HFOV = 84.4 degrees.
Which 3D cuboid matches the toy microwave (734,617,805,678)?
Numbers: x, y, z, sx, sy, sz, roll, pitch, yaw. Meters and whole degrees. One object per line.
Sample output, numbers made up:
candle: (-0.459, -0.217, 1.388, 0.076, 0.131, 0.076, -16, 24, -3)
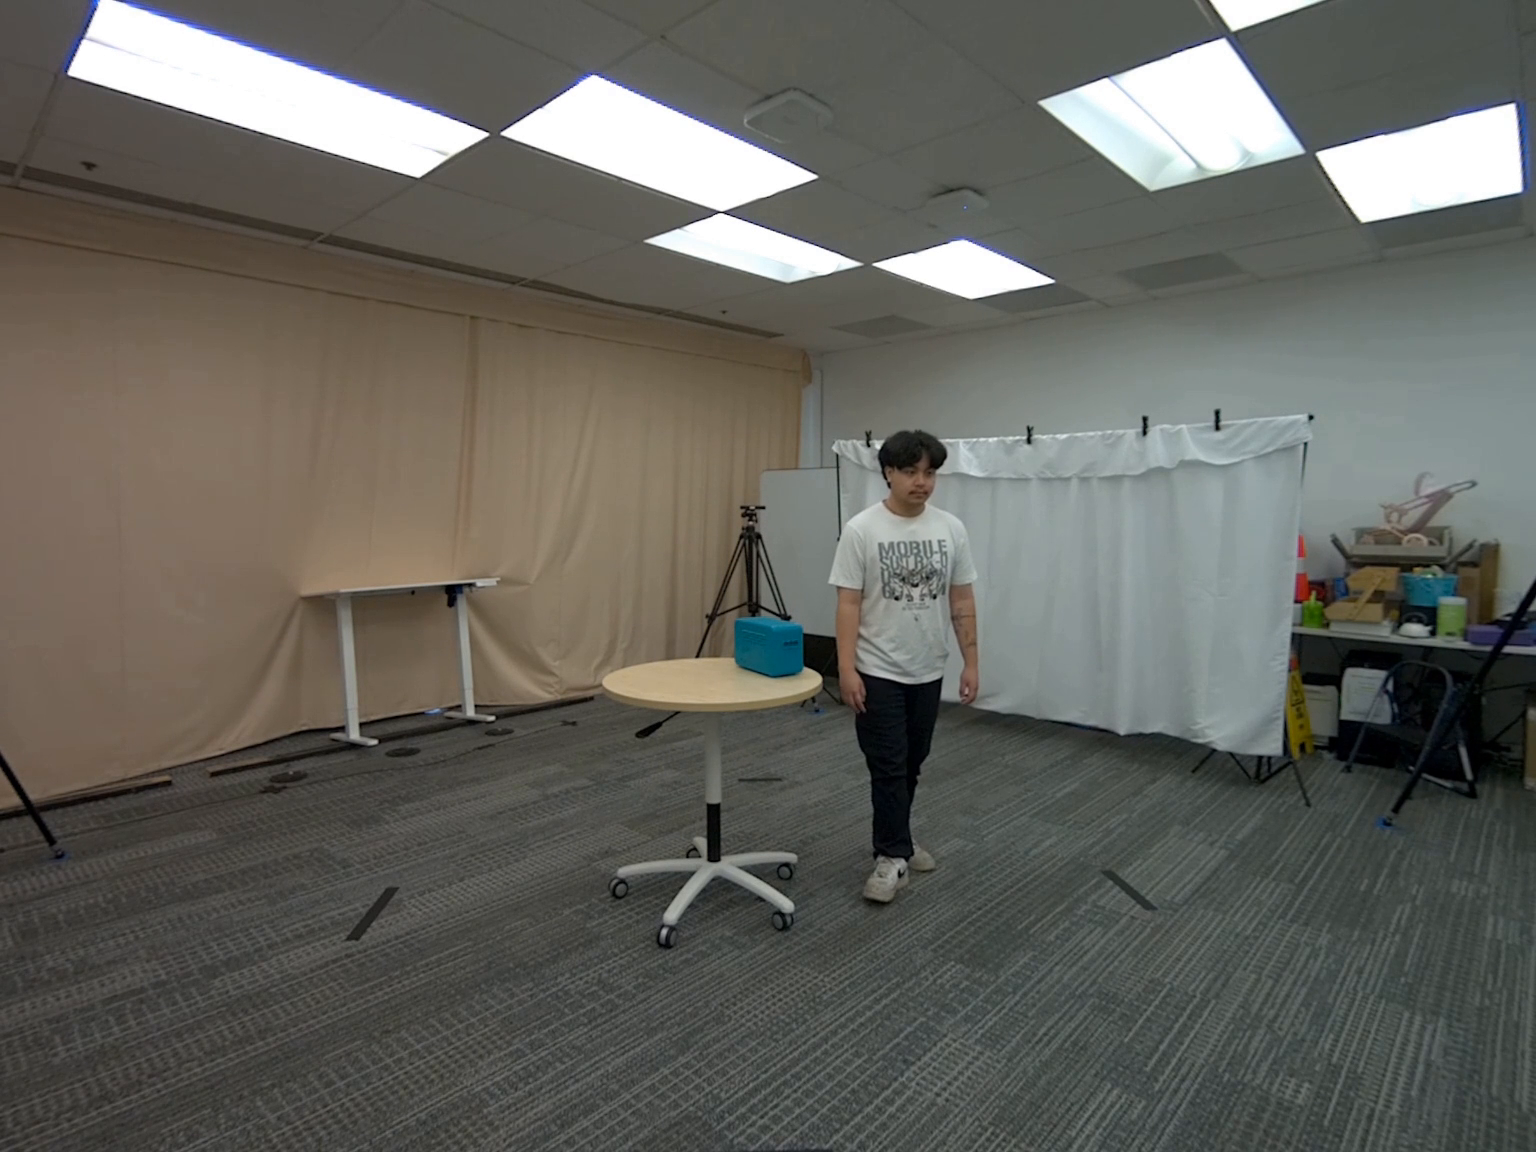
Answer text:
toy microwave: (0.007, 0.254, 3.061, 0.148, 0.184, 0.295, -2, 4, -31)
